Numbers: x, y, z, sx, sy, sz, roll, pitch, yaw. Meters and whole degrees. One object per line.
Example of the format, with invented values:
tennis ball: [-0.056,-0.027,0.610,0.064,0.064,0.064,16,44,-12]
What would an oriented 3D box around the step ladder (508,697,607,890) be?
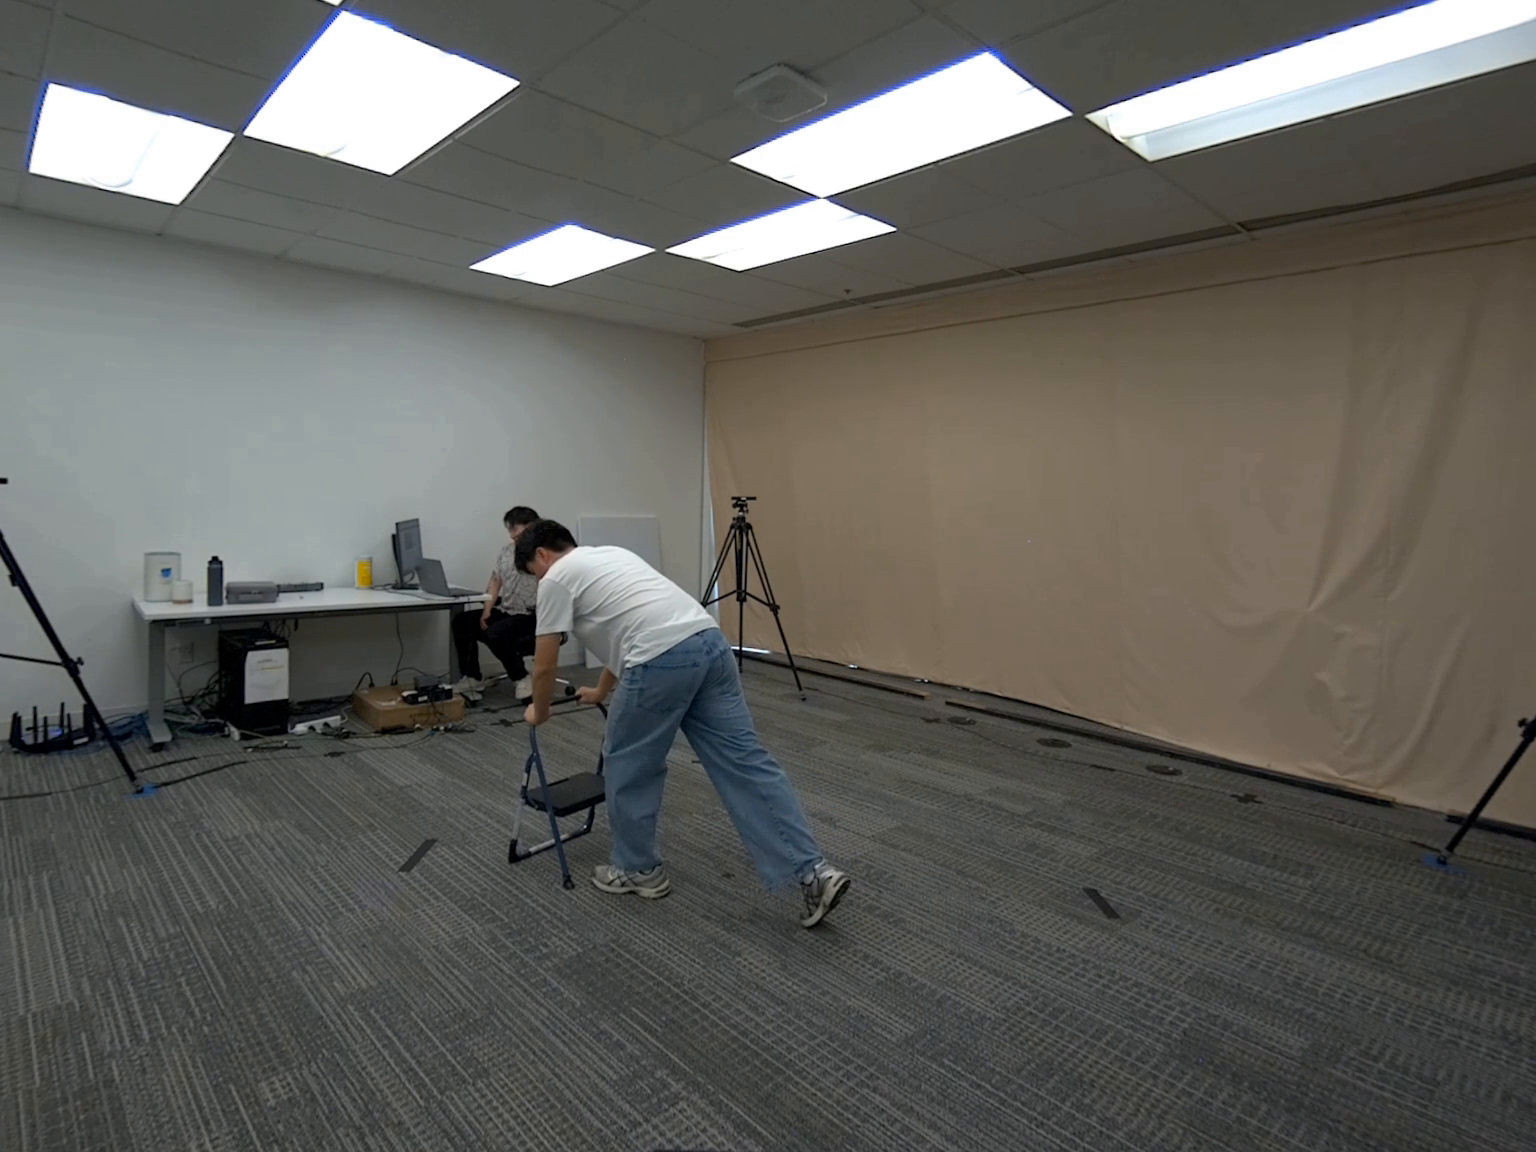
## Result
step ladder: [-0.728,0.777,3.225,0.357,0.605,0.421,2,3,35]
